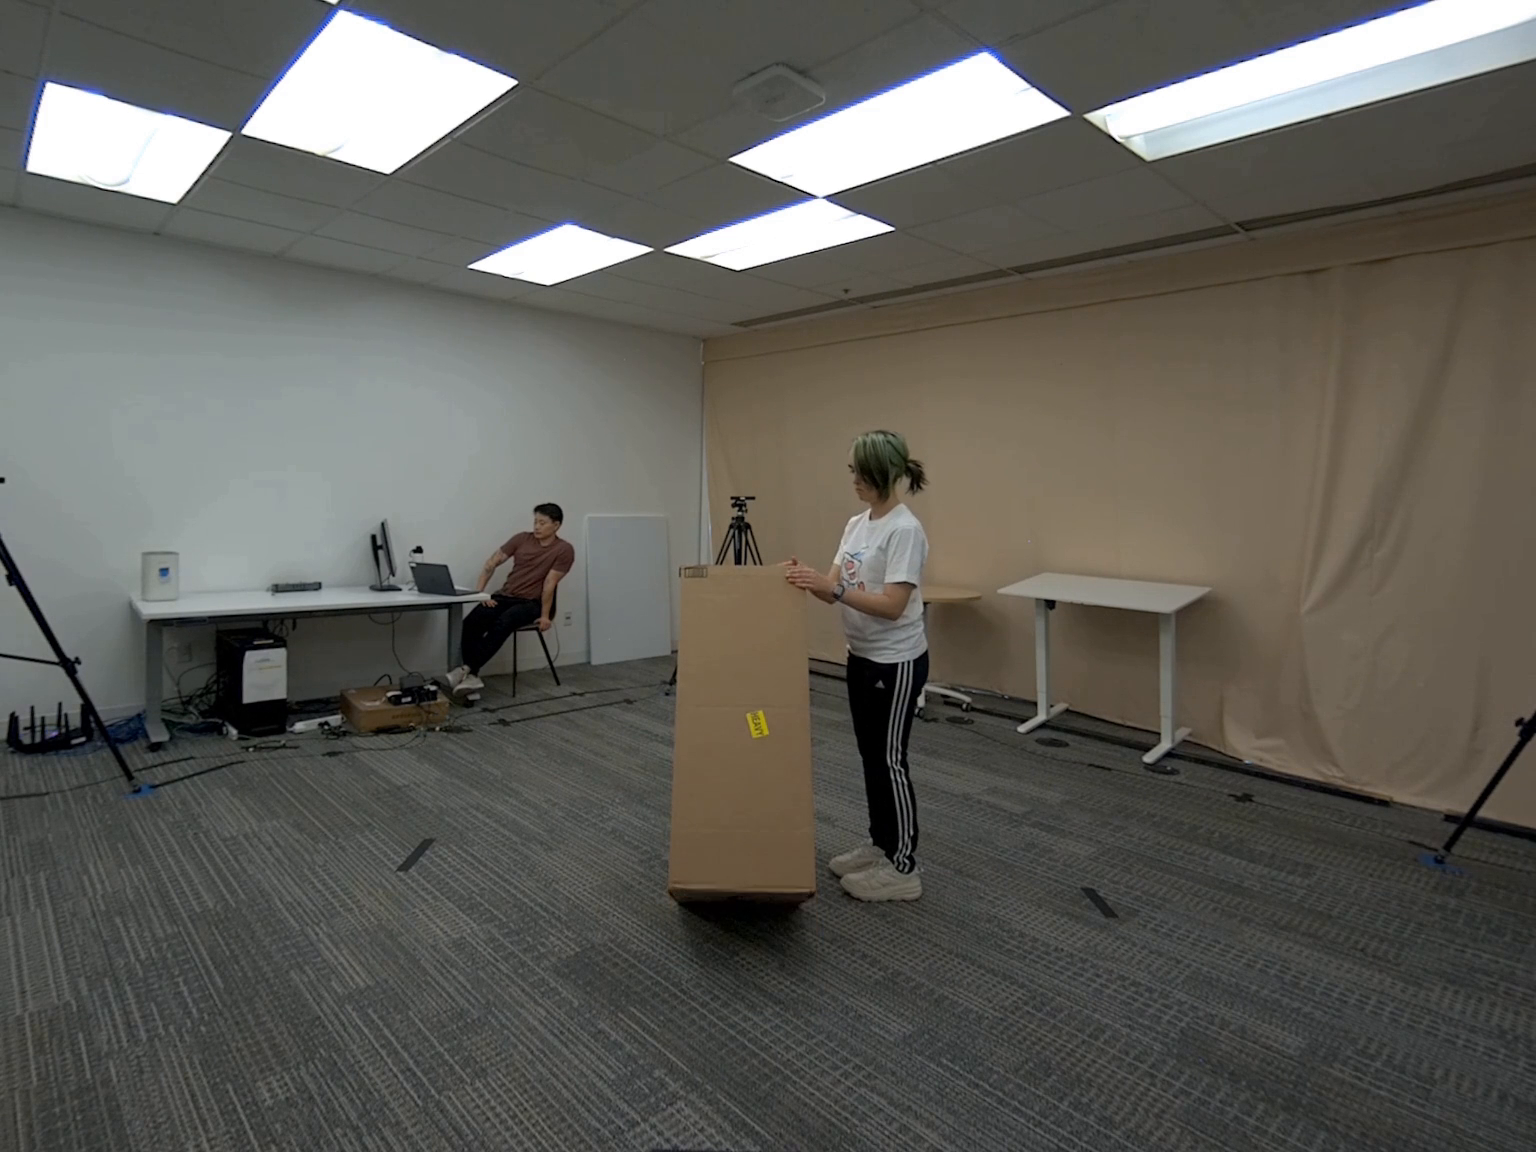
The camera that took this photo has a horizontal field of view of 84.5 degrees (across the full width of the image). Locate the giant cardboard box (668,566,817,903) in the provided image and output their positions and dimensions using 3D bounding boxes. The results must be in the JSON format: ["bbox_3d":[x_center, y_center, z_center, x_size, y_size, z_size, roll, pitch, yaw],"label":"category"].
[{"bbox_3d":[-0.100,0.553,2.858,0.426,1.044,0.568,0,-26,-2],"label":"giant cardboard box"}]
